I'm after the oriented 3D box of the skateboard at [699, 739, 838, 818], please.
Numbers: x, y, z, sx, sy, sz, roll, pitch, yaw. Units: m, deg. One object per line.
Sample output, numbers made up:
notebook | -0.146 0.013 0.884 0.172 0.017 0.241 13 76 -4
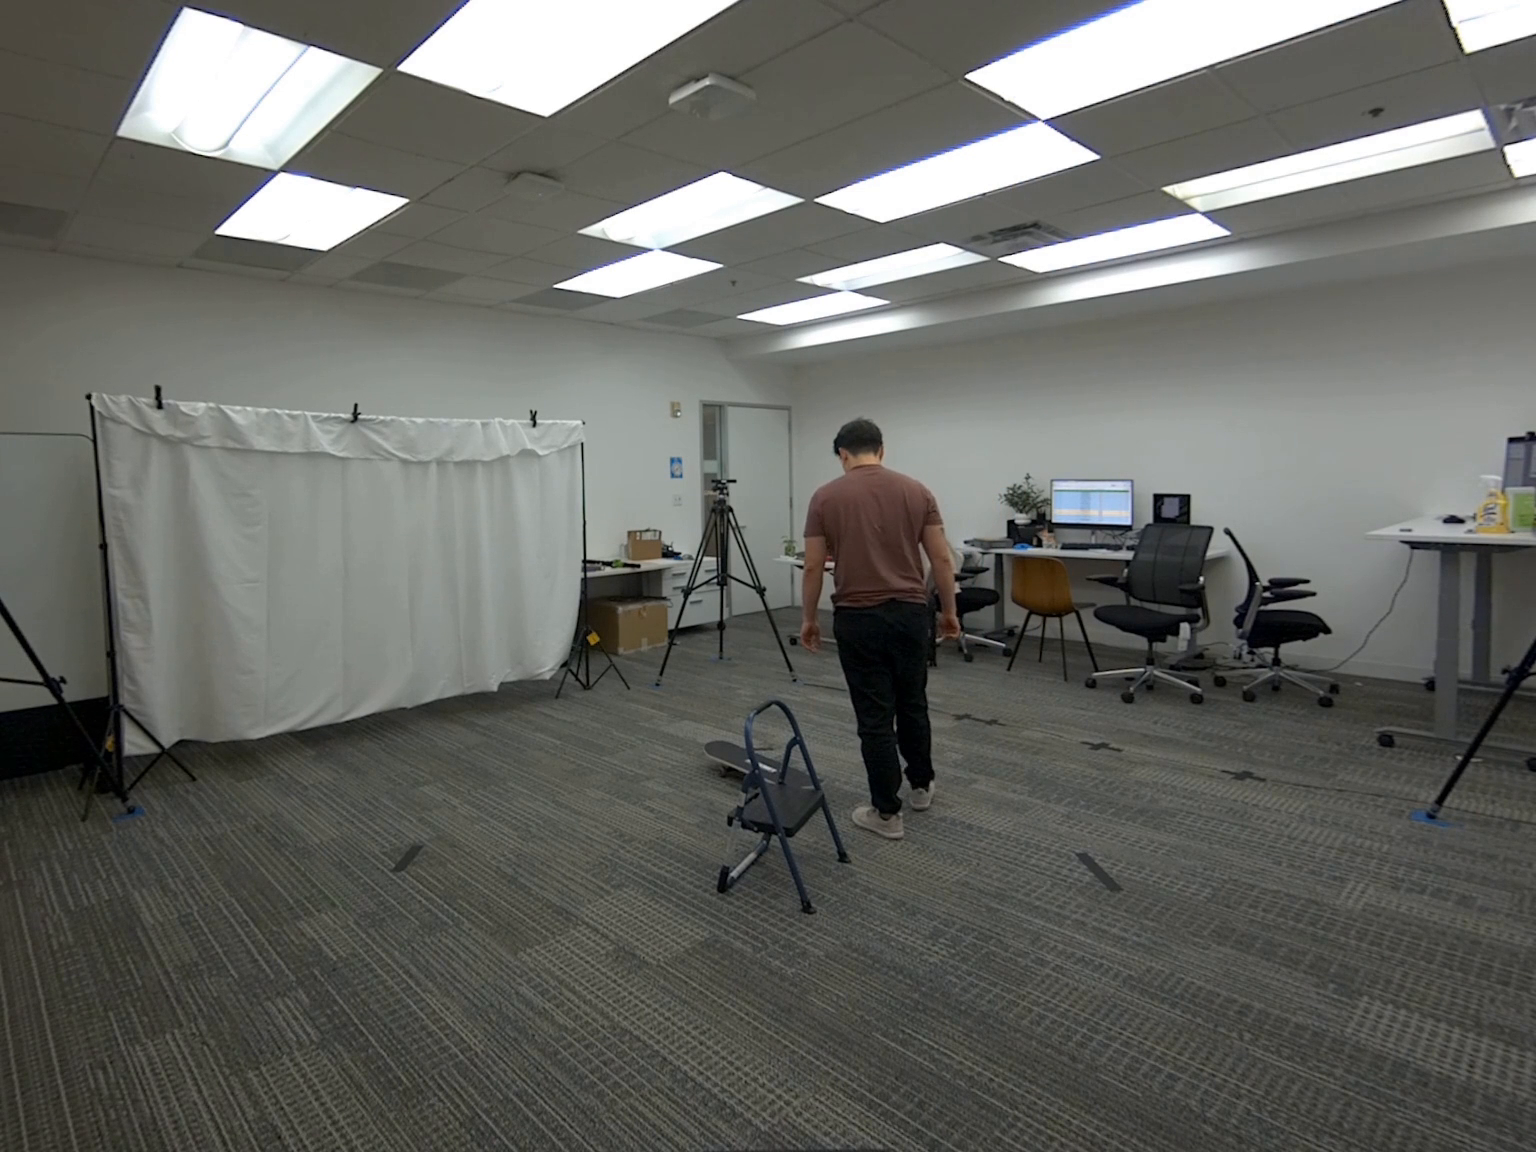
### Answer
skateboard | -0.021 0.907 3.915 0.188 0.110 0.809 -4 6 -36
